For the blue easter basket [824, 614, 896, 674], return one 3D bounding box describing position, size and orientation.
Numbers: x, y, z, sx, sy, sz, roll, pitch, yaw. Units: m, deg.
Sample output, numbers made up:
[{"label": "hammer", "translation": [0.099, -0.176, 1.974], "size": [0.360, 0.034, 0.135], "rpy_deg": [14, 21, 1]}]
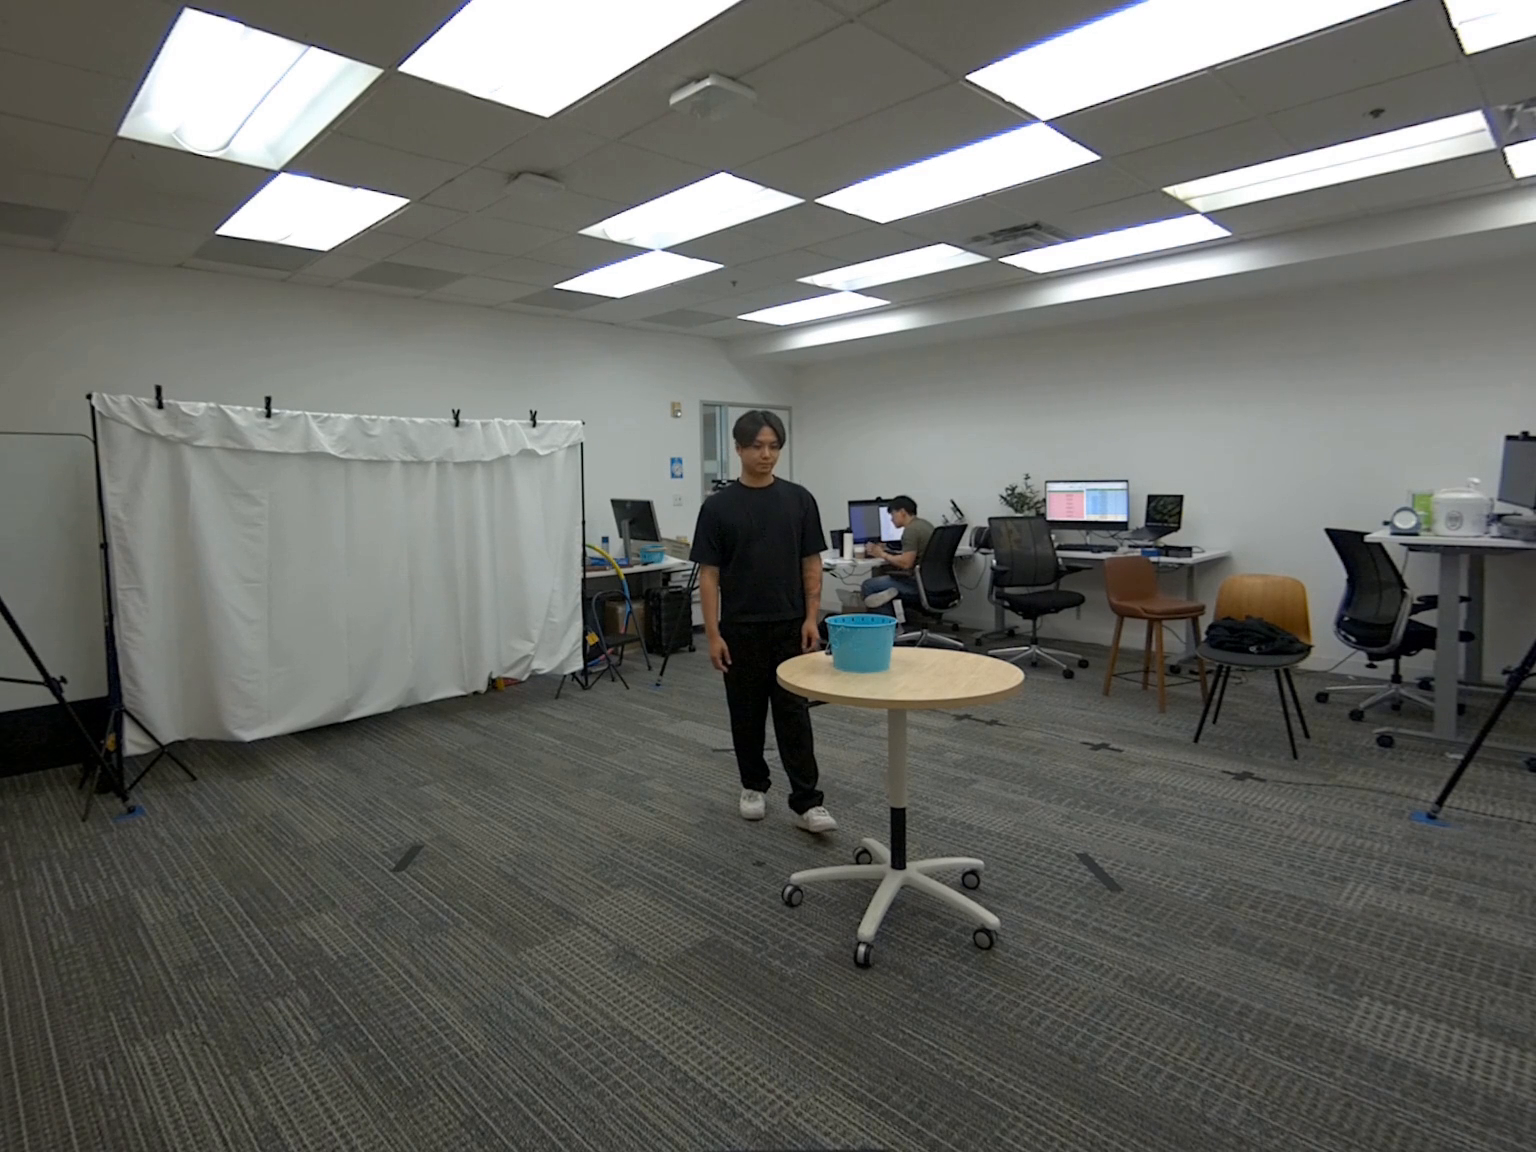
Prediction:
[{"label": "blue easter basket", "translation": [0.317, 0.224, 2.781], "size": [0.243, 0.155, 0.245], "rpy_deg": [-1, 6, -2]}]
